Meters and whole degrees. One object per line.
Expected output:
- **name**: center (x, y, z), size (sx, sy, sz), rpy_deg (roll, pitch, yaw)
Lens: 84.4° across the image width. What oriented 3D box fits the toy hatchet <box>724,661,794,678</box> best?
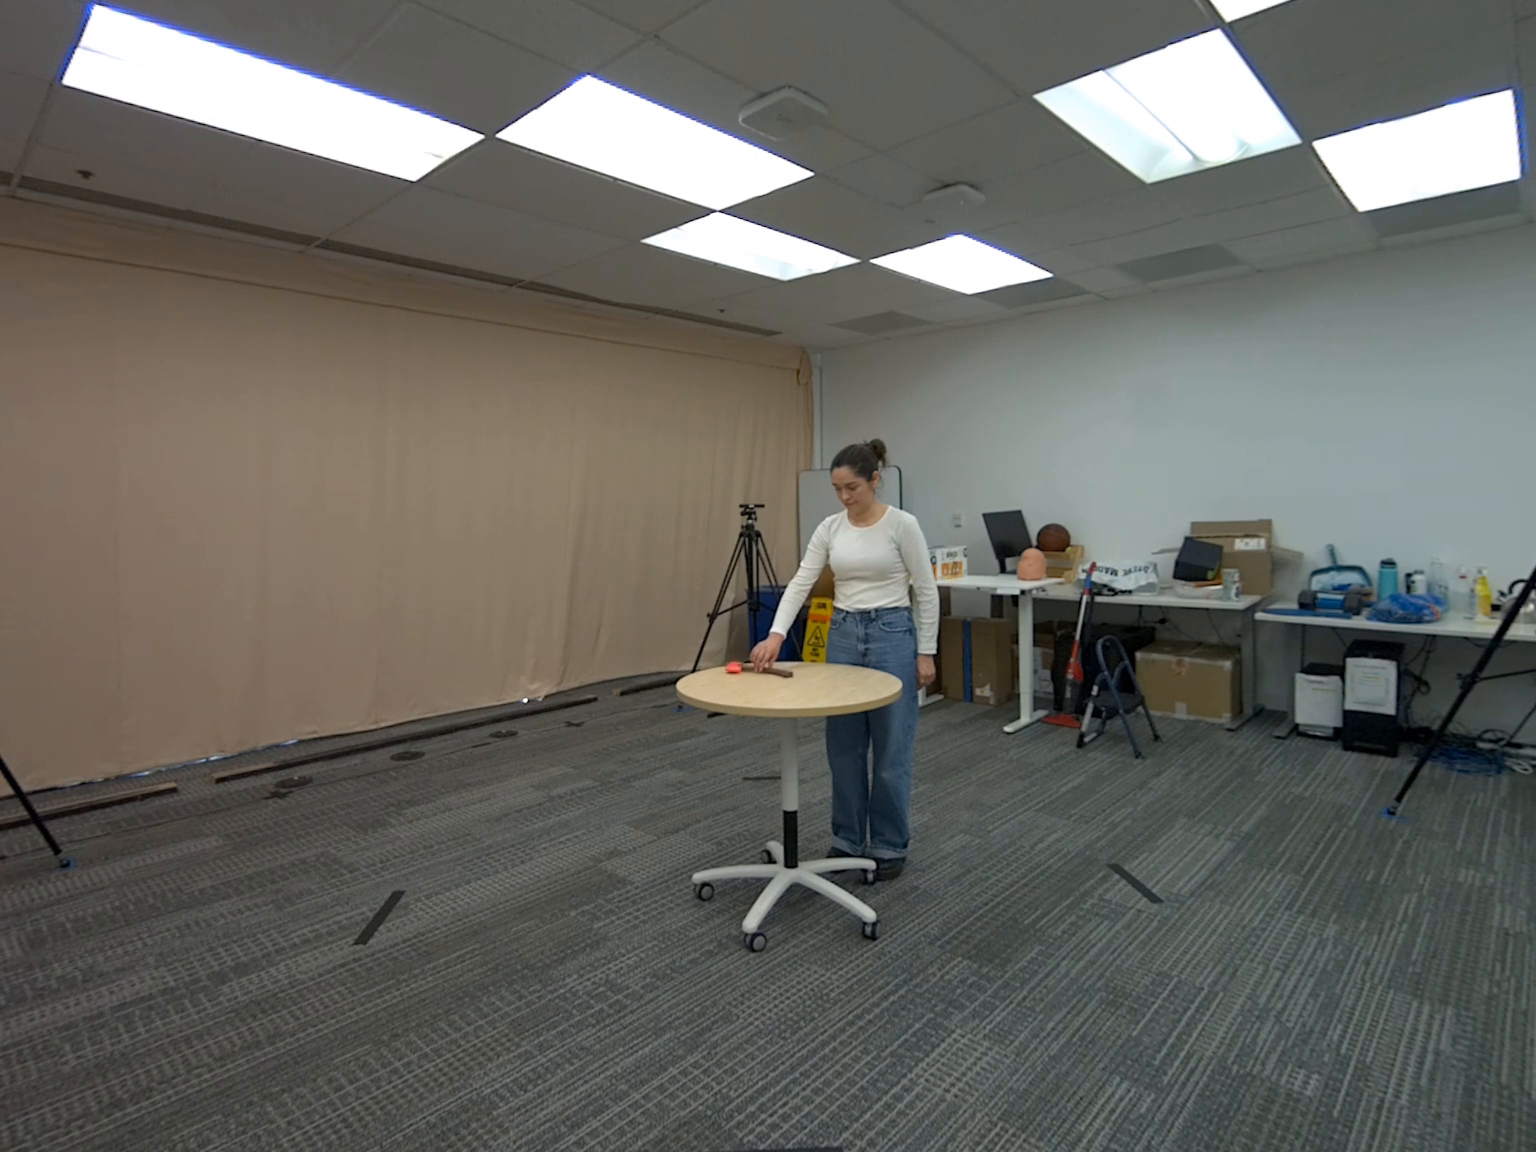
- **toy hatchet**: center (-0.039, 0.343, 3.031), size (0.127, 0.029, 0.279), rpy_deg (-1, 4, -44)
